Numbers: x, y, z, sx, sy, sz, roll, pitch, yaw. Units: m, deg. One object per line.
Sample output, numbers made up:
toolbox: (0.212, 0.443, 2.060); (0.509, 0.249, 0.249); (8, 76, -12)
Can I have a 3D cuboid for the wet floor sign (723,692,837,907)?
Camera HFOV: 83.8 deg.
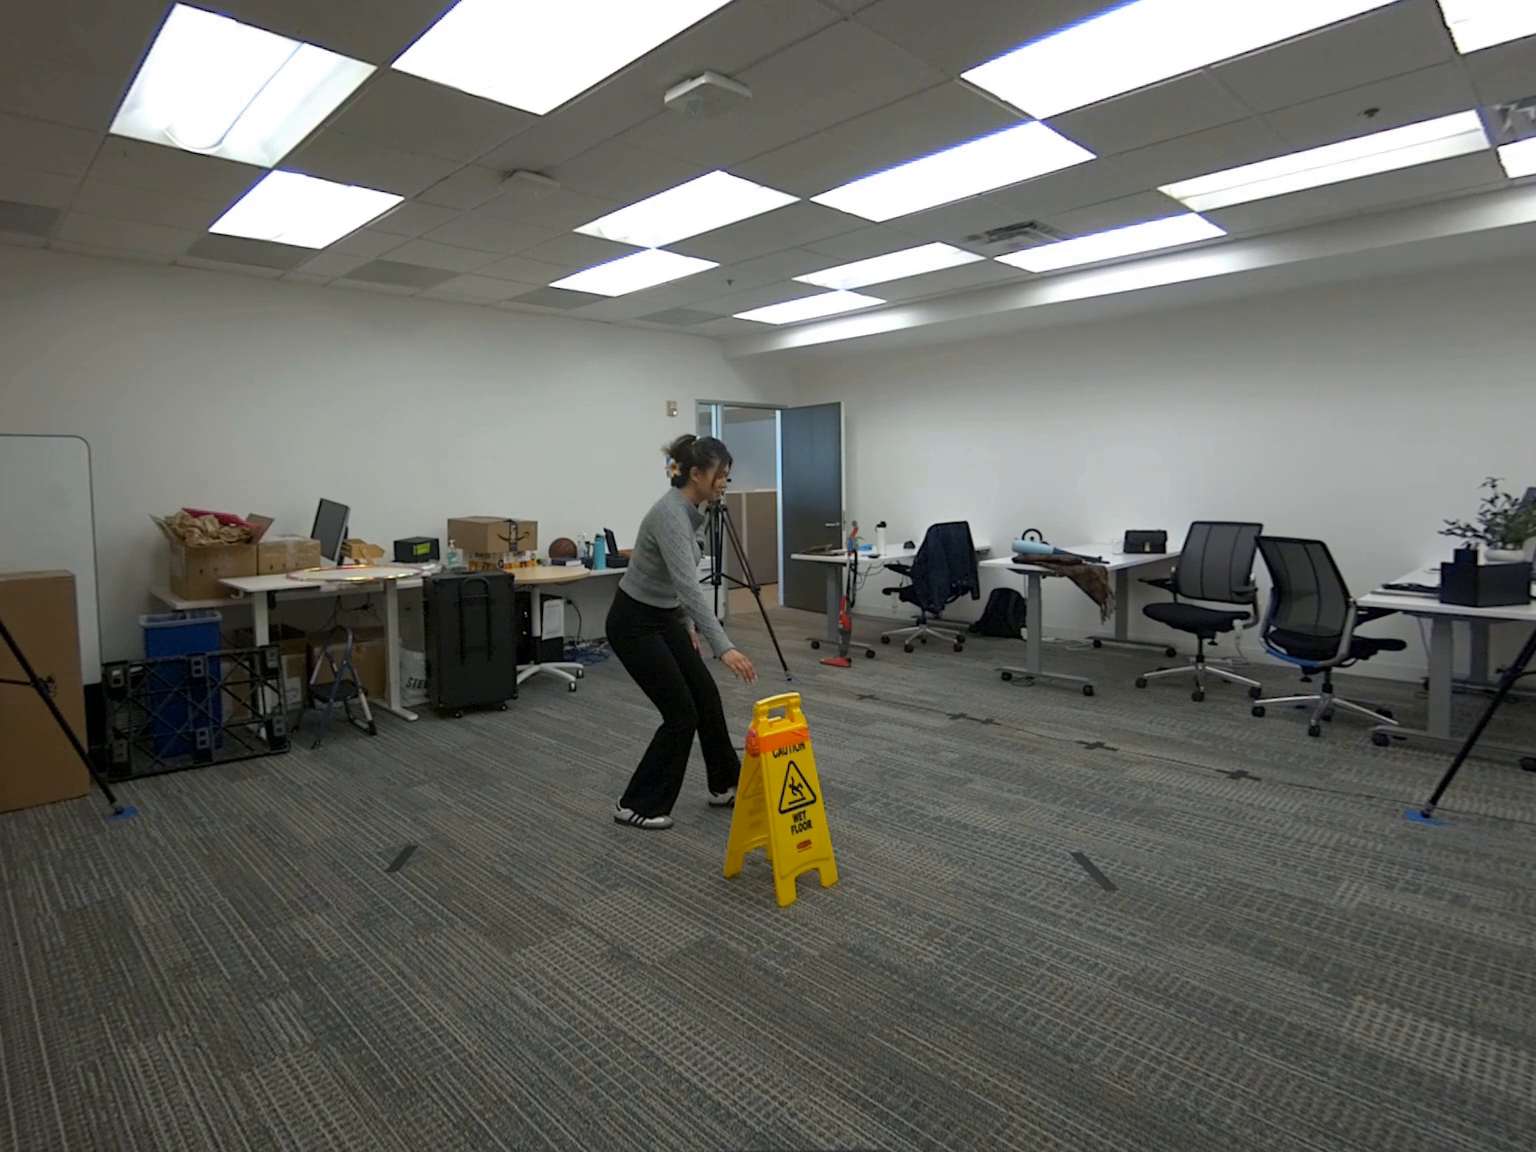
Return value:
wet floor sign: (0.042, 0.736, 2.959); (0.275, 0.643, 0.299); (-5, 6, -41)
